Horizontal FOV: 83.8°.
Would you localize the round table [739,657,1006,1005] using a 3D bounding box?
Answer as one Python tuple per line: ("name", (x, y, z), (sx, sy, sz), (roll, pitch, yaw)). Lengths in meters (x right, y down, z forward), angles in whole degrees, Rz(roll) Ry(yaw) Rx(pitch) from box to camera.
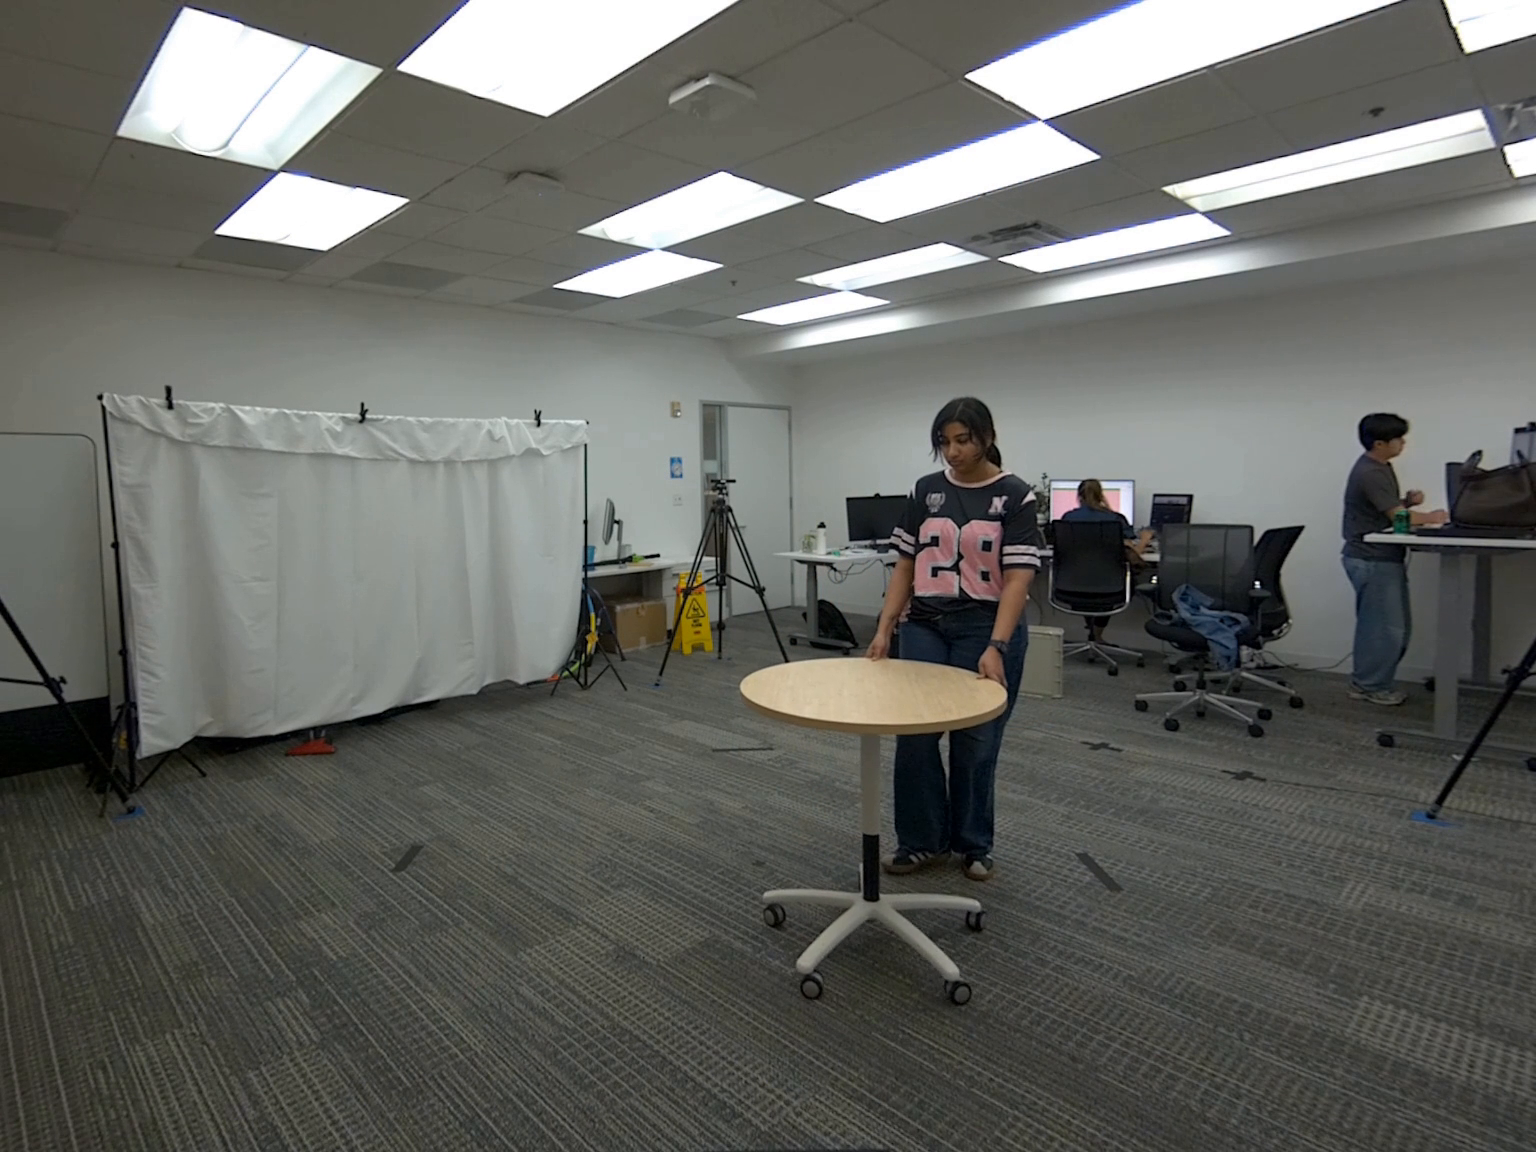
("round table", (0.307, 0.717, 2.537), (0.763, 0.791, 0.768), (-1, 5, -2))
